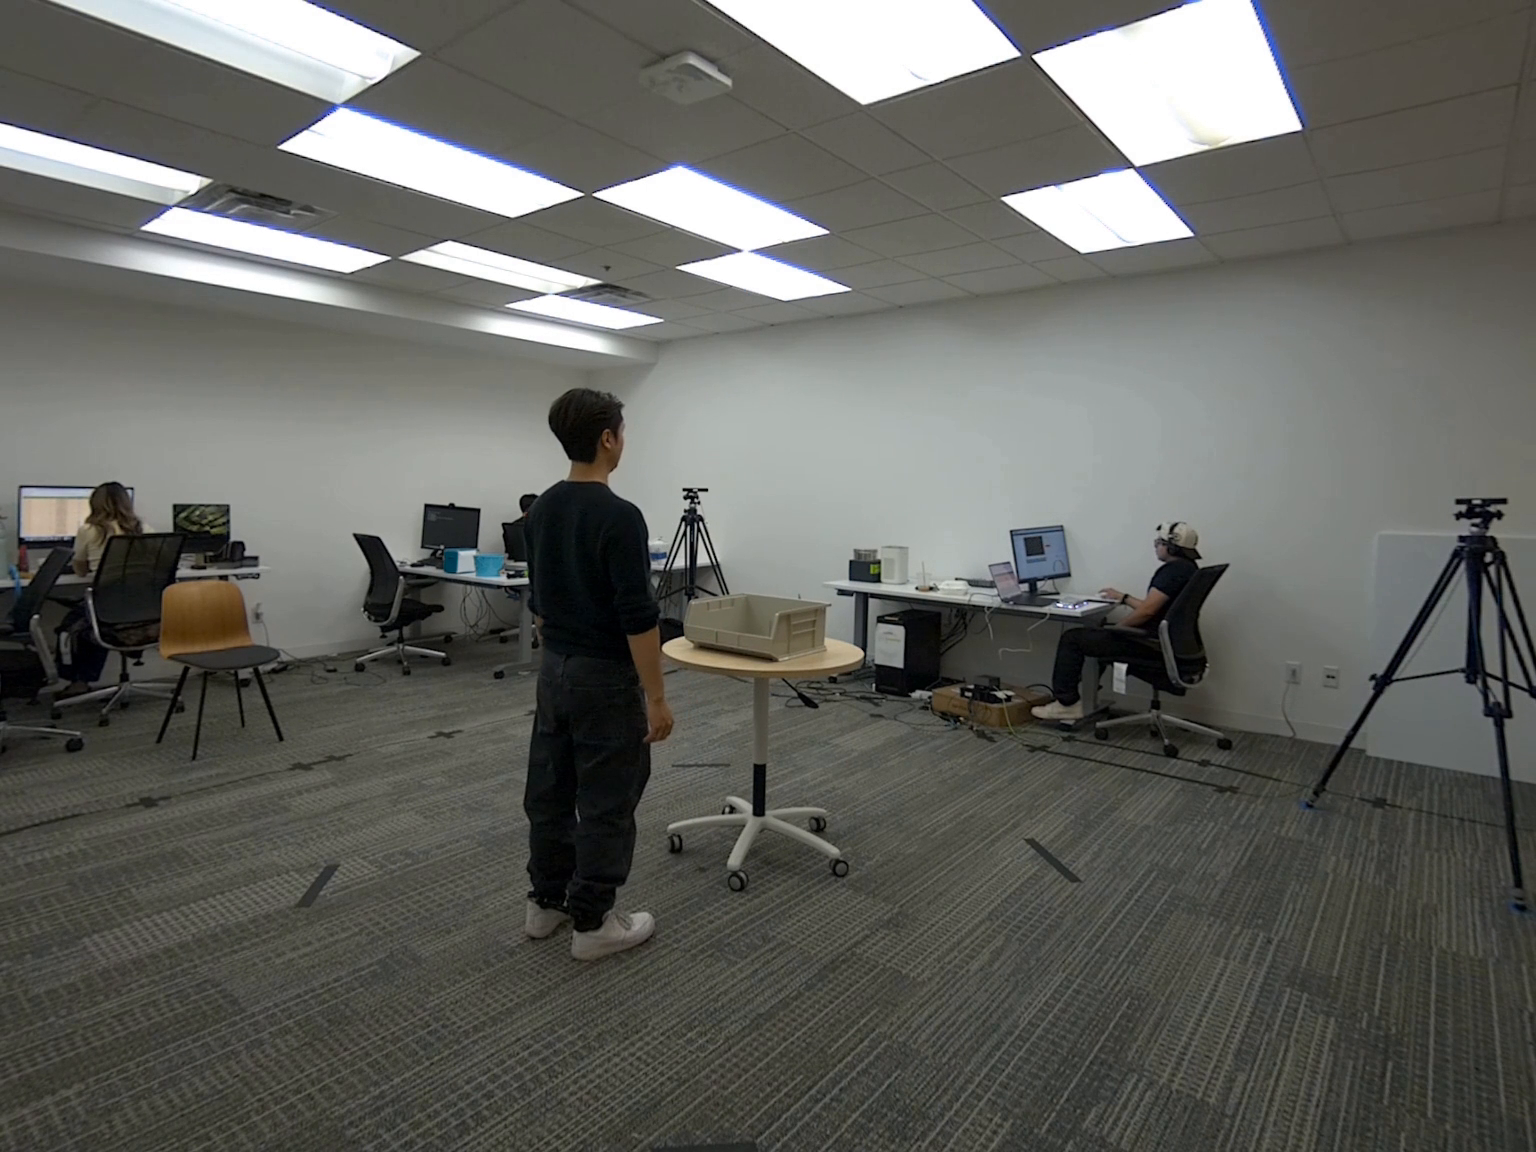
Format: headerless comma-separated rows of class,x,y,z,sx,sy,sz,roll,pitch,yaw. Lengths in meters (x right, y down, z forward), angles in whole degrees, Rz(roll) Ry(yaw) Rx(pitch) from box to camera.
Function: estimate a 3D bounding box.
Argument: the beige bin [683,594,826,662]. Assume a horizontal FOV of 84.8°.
beige bin,-0.051,0.188,3.228,0.436,0.188,0.366,5,5,38
